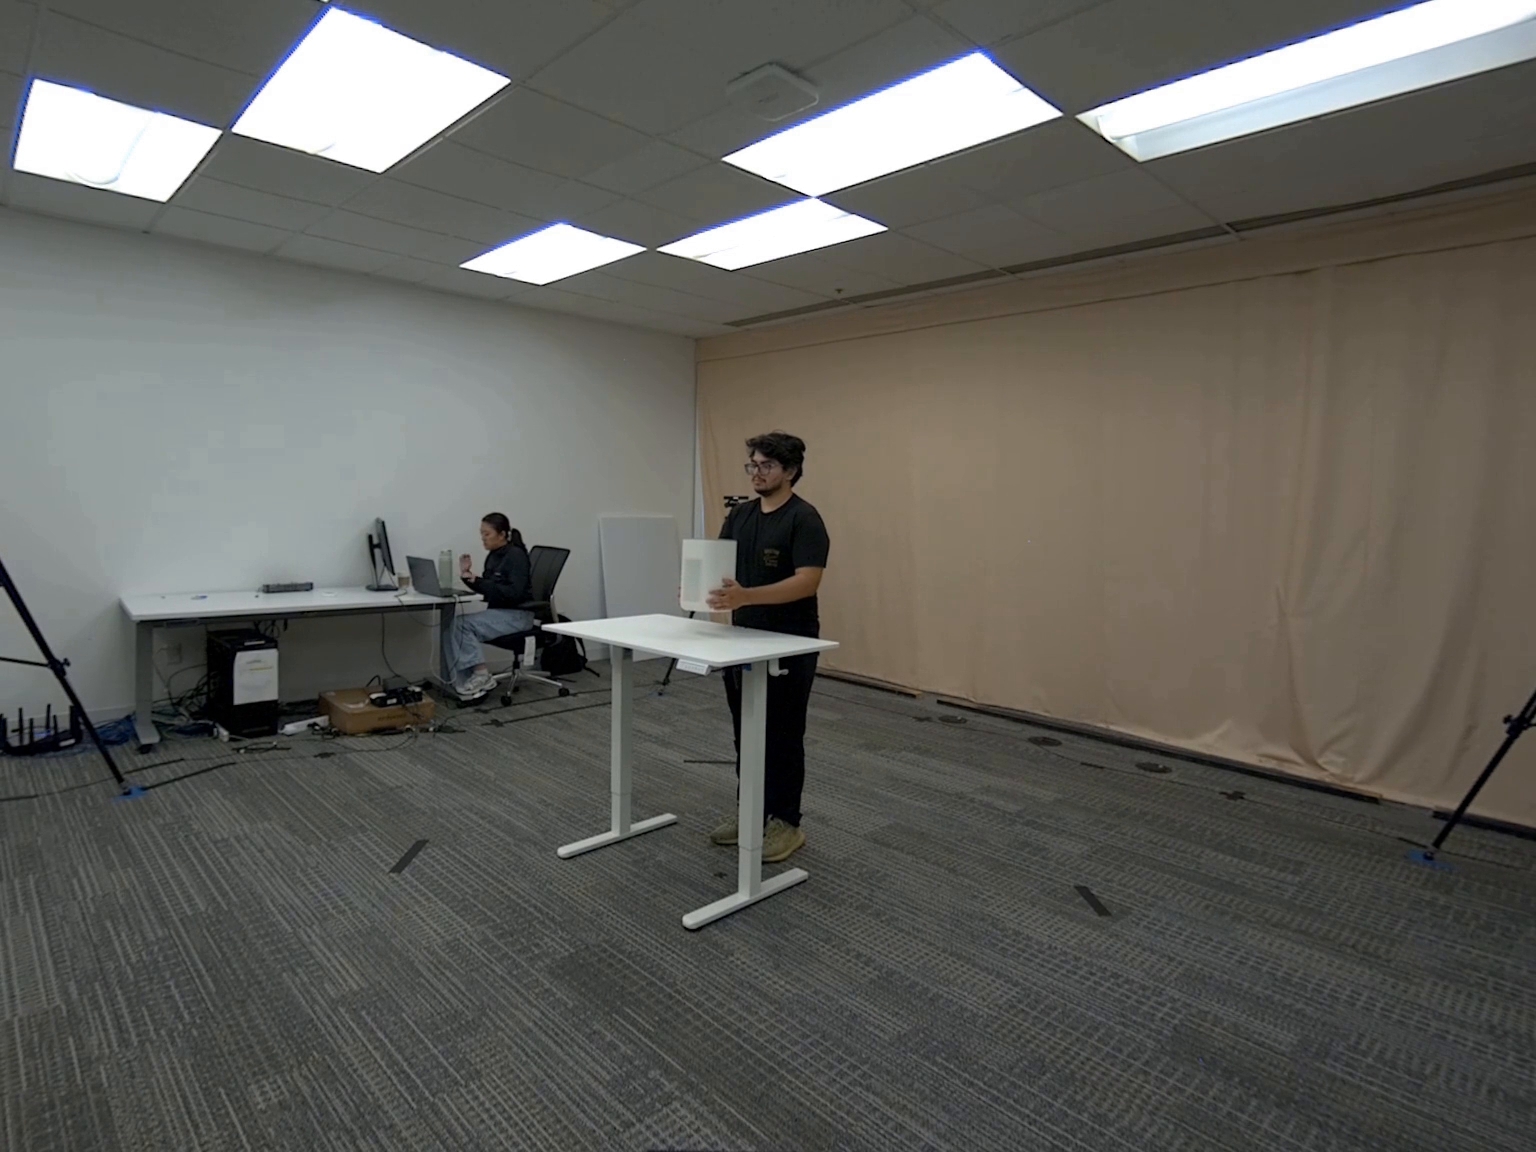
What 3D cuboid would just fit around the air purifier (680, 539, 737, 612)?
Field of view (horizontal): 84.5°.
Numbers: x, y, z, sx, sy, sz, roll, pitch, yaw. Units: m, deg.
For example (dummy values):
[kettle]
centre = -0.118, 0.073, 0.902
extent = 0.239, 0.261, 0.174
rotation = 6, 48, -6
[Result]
[air purifier]
centre = -0.224, -0.003, 3.096
extent = 0.176, 0.265, 0.167
rotation = 1, -1, 40
